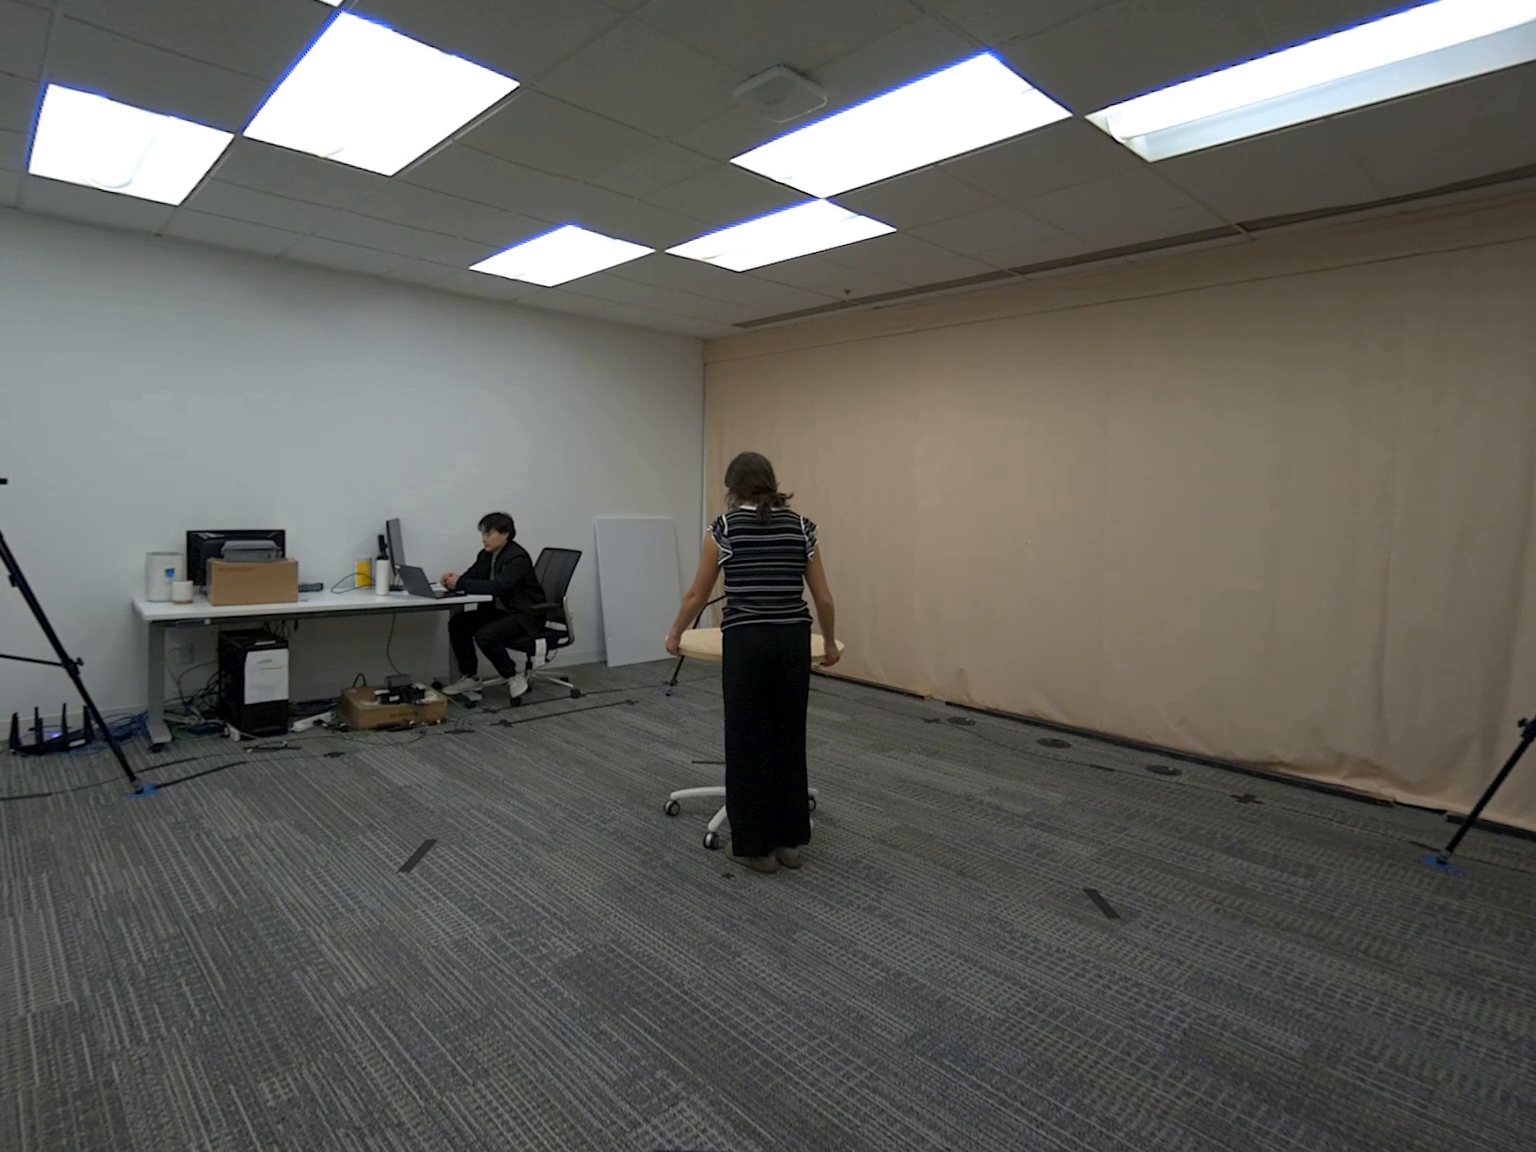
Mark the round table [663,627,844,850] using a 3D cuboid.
[{"bbox_3d":[-0.060,0.671,3.644,0.784,0.784,0.788,2,4,-1],"label":"round table"}]
